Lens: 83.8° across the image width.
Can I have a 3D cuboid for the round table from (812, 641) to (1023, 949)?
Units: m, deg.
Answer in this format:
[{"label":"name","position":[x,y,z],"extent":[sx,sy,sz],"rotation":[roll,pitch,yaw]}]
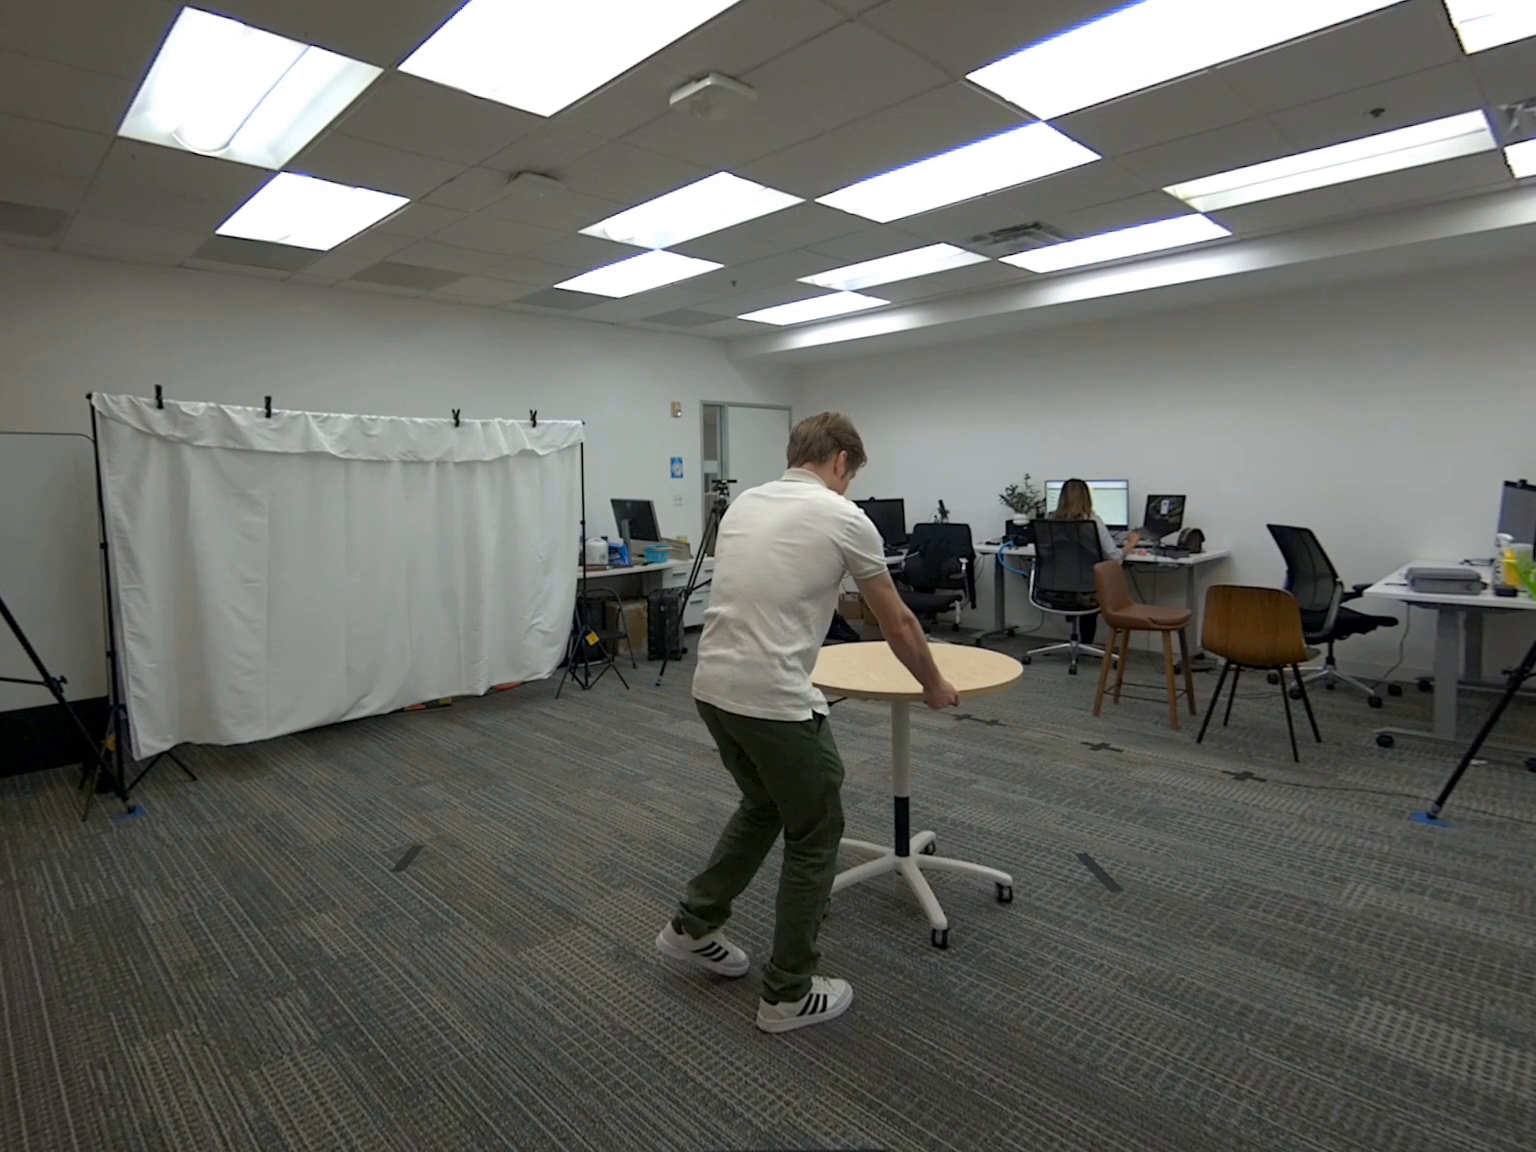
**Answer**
[{"label":"round table","position":[0.439,0.679,2.822],"extent":[0.784,0.783,0.789],"rotation":[-1,5,-2]}]
